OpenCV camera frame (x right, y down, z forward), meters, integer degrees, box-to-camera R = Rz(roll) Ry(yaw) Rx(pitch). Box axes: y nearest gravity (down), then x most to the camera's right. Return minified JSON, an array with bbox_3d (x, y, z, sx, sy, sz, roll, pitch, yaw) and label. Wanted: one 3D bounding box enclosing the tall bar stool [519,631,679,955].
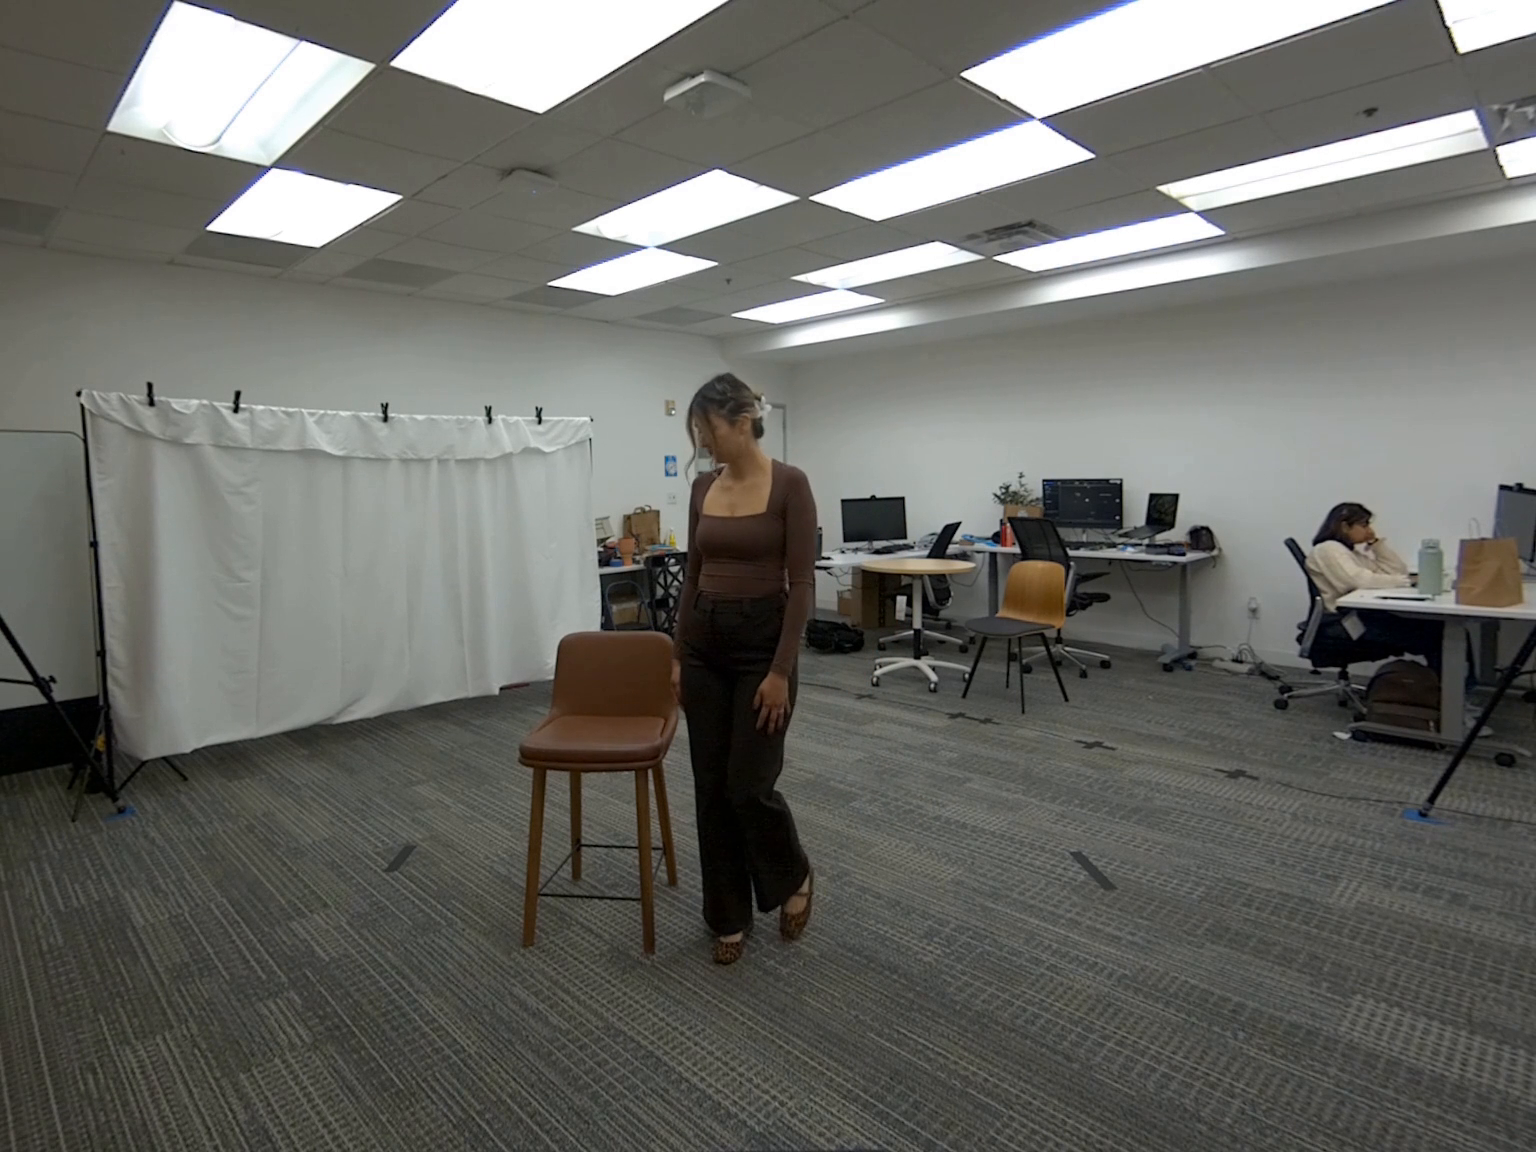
[{"bbox_3d":[-0.528,0.659,2.748,0.460,0.887,0.465,0,3,8],"label":"tall bar stool"}]
